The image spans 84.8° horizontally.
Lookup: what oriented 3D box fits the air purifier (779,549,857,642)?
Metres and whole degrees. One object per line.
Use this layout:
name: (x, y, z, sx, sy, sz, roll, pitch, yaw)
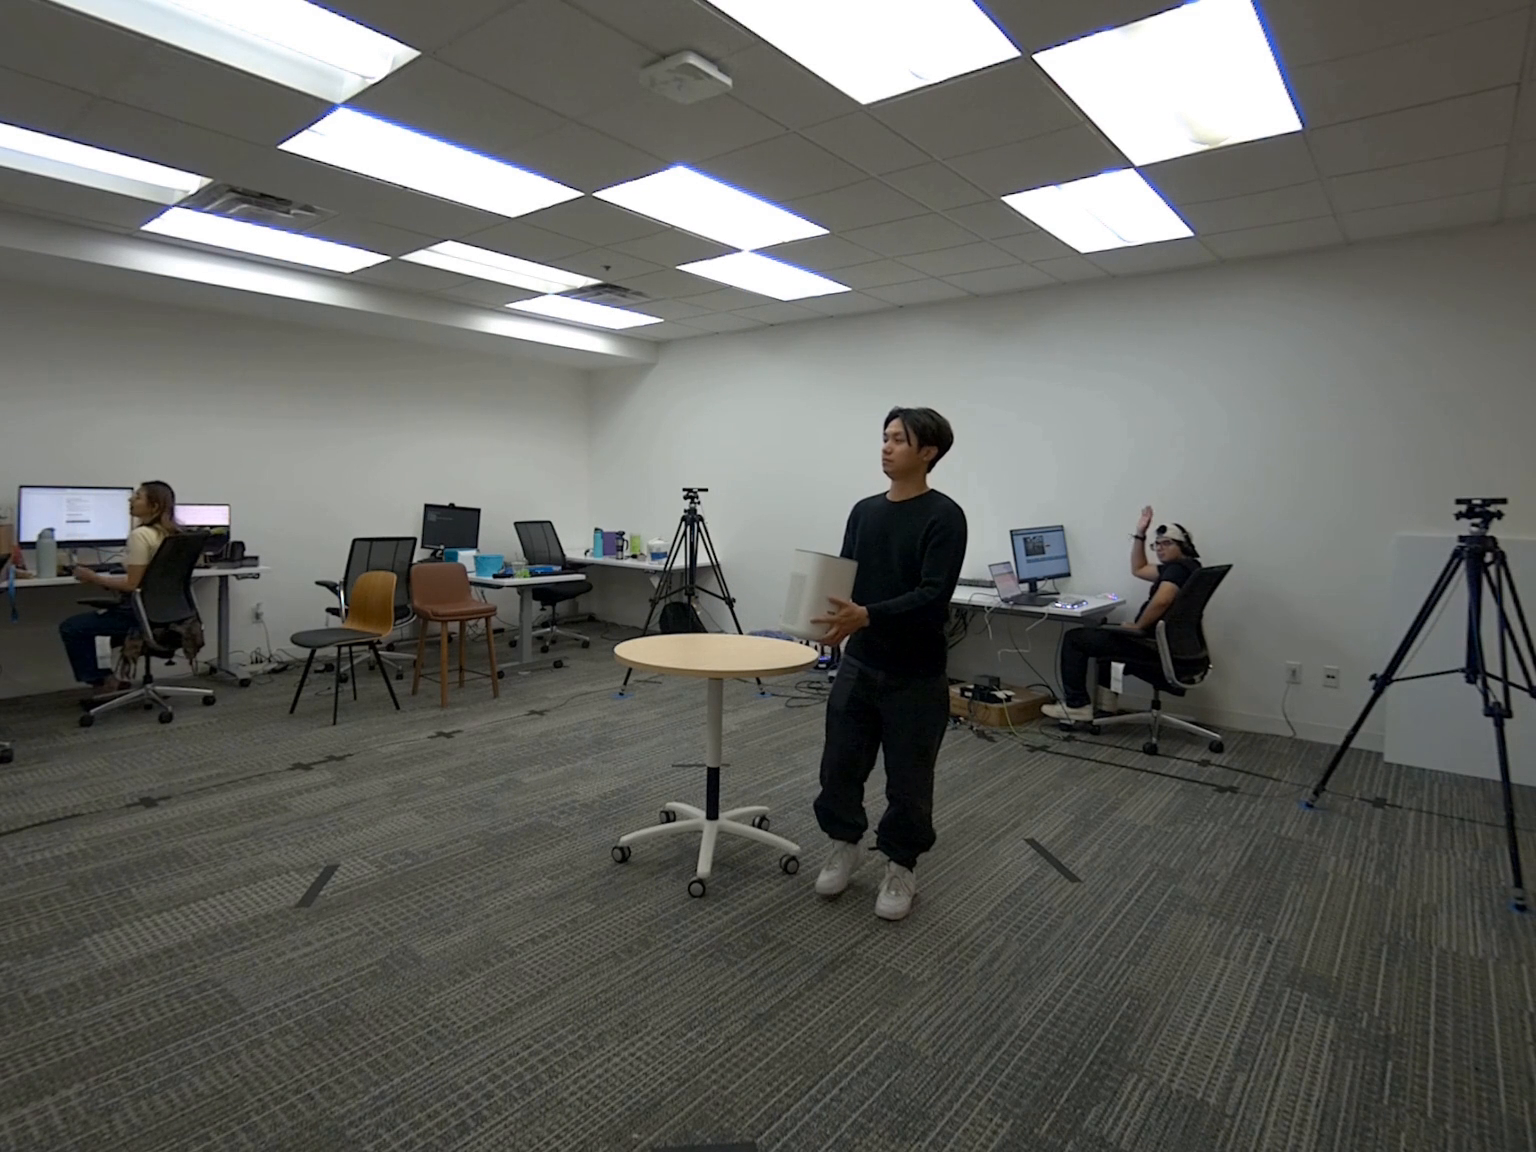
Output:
air purifier: (0.145, 0.063, 2.622, 0.166, 0.266, 0.177, 13, -2, -28)
